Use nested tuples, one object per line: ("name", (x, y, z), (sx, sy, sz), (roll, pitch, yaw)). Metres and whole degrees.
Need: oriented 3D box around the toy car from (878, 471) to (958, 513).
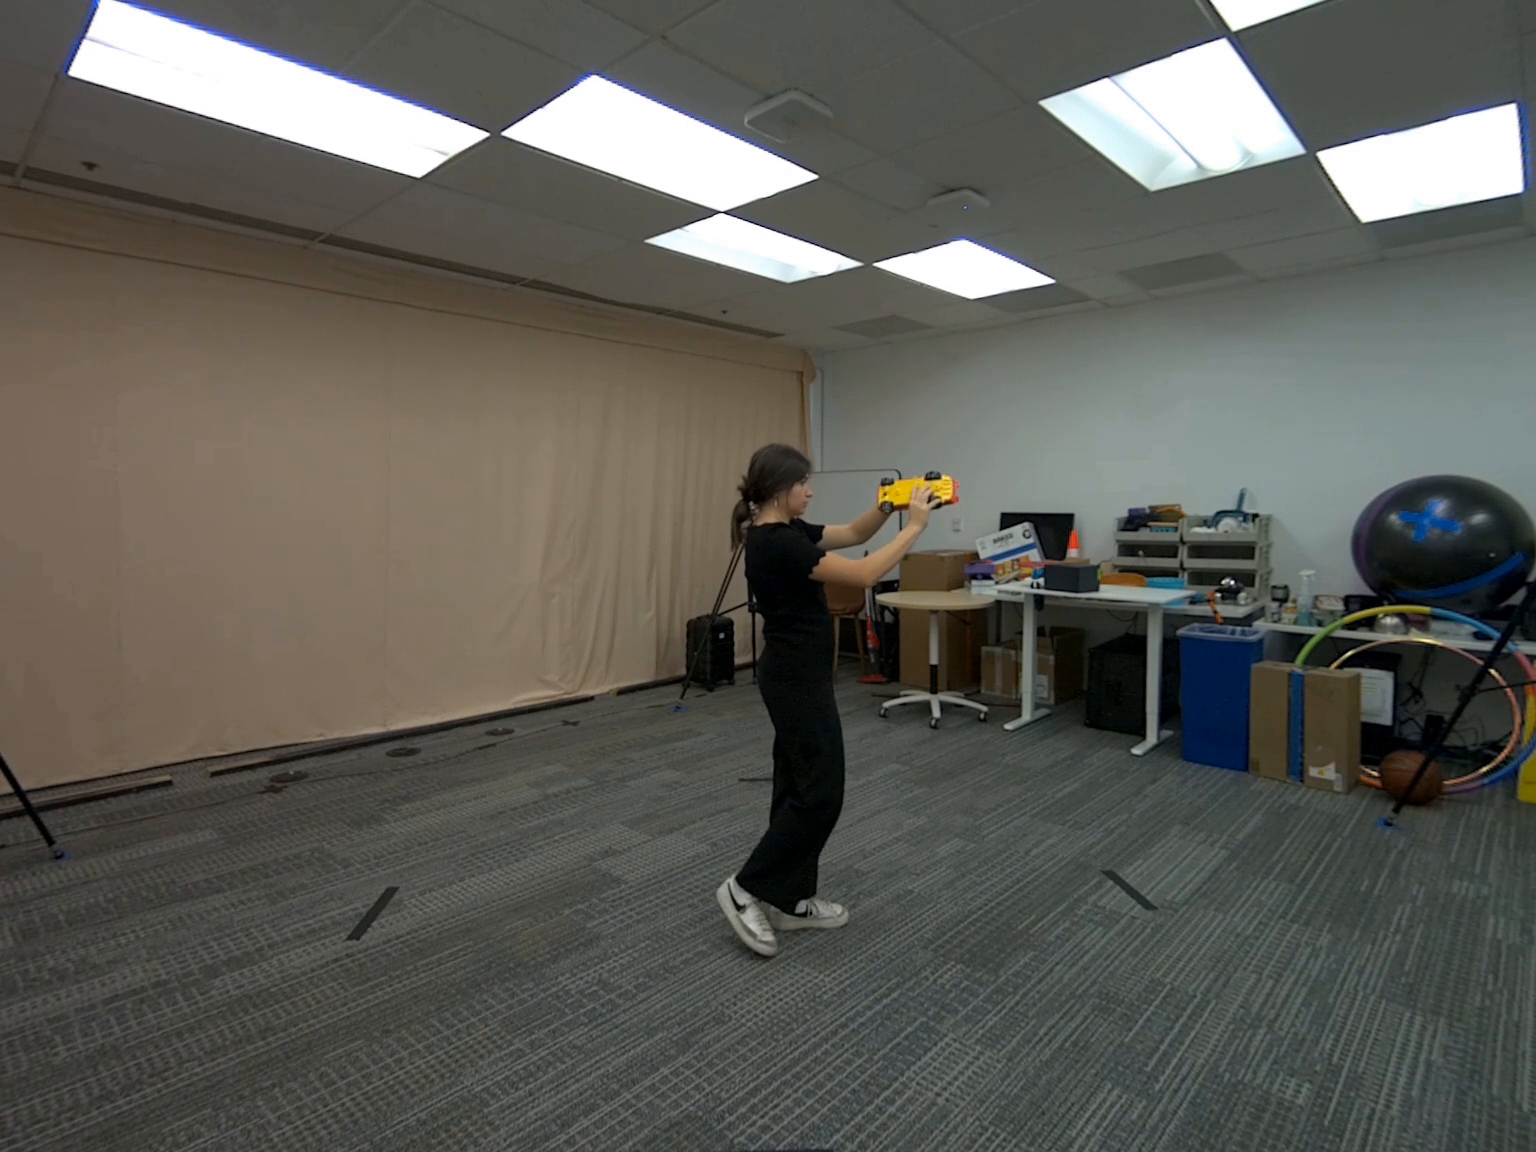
("toy car", (0.478, -0.261, 2.638), (0.259, 0.132, 0.081), (-1, -25, 16))
